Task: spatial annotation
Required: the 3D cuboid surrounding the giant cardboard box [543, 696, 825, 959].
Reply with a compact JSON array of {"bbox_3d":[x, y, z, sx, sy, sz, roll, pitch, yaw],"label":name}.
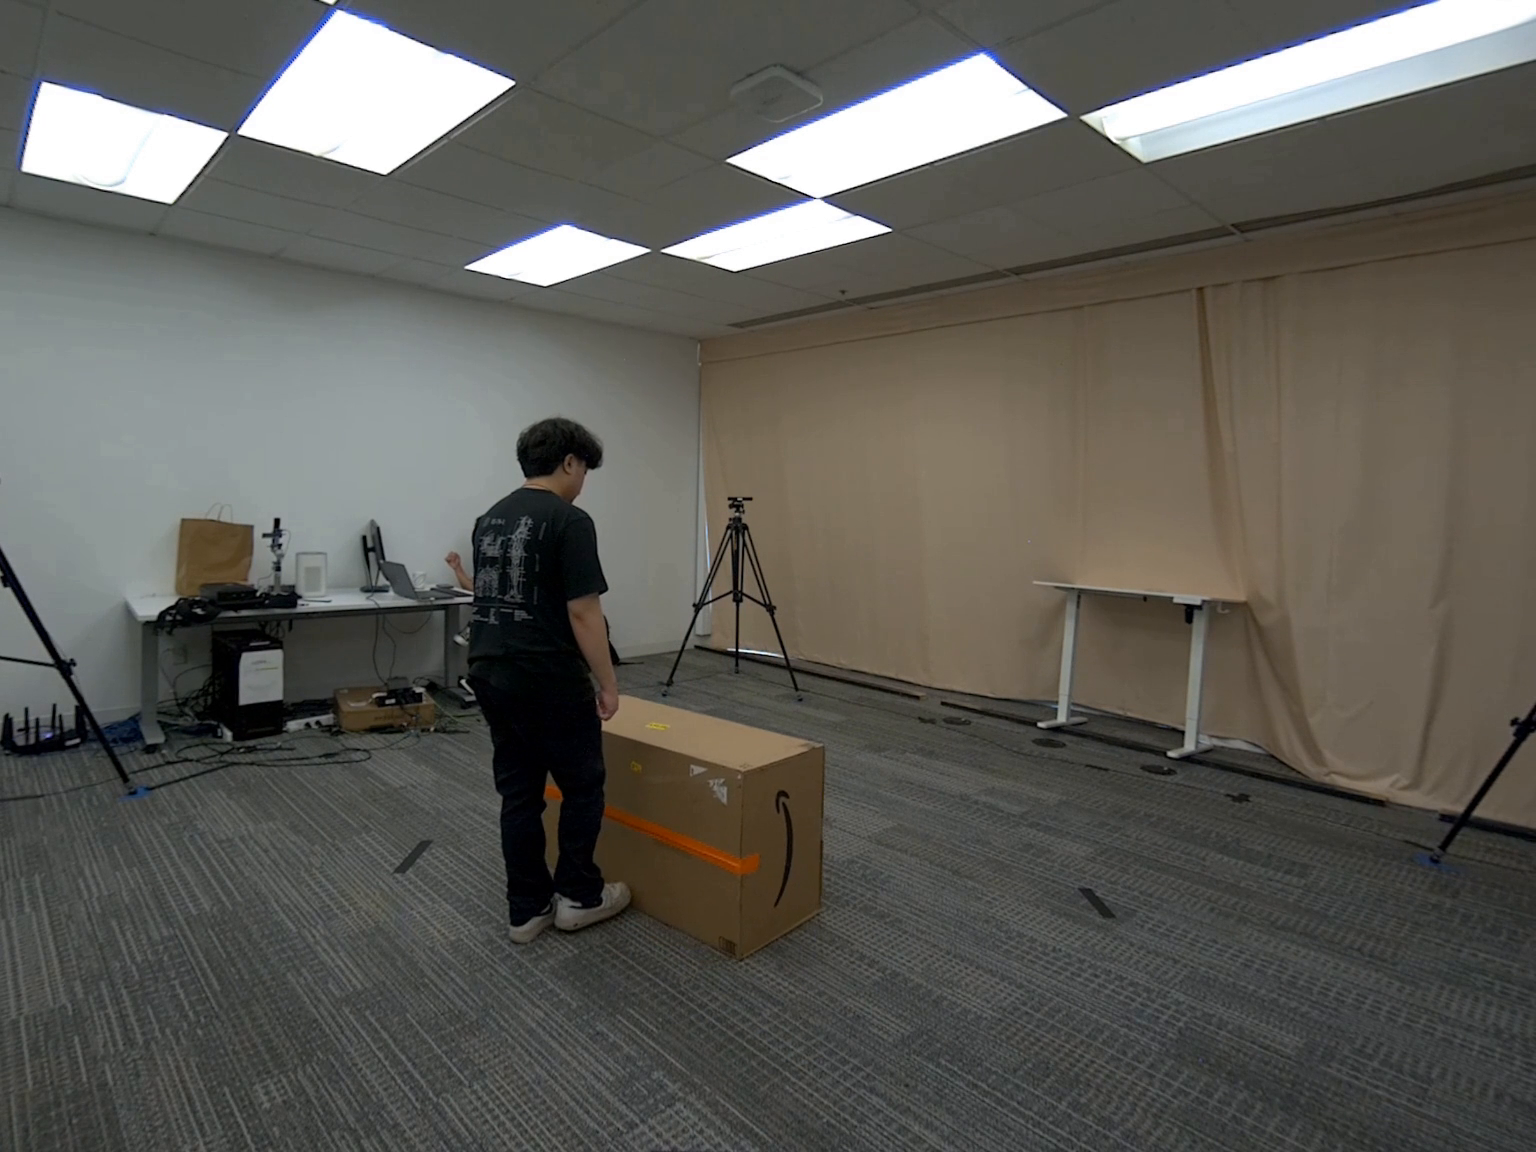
[{"bbox_3d":[-0.347,0.826,3.012,1.053,0.582,0.437,4,6,40],"label":"giant cardboard box"}]
